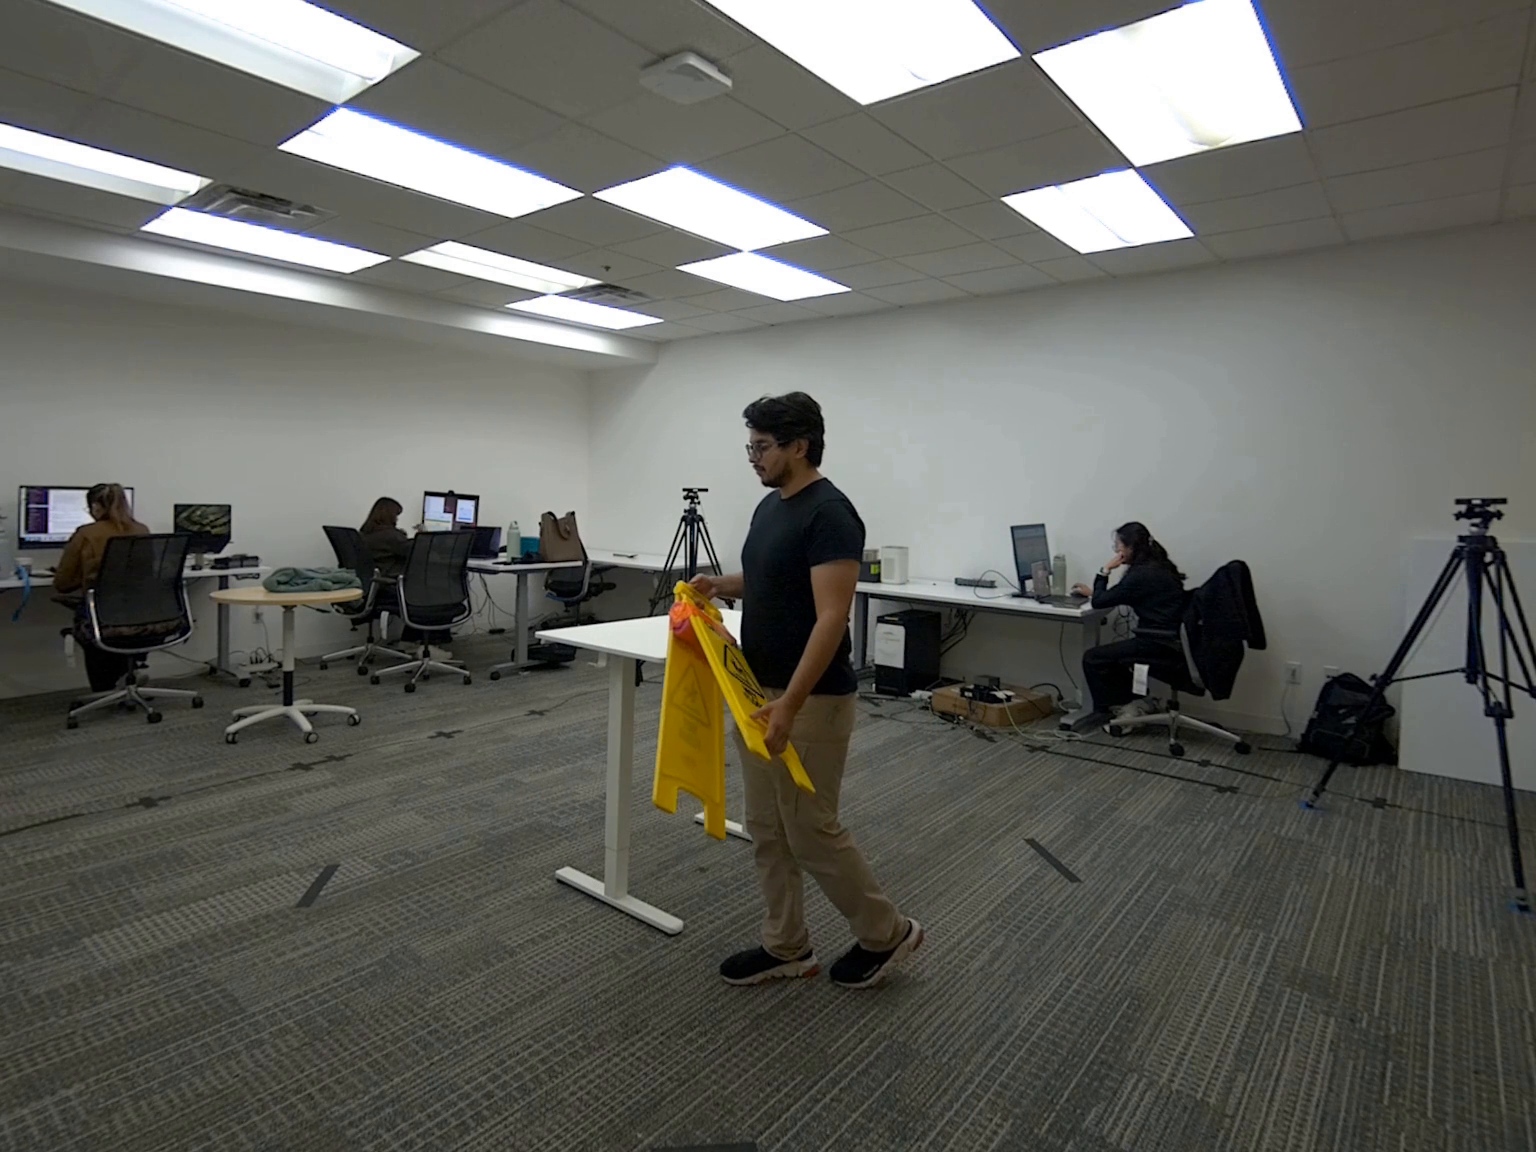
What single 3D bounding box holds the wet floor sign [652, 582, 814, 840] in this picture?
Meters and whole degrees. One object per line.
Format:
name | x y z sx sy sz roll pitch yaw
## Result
wet floor sign | -0.148 0.287 2.211 0.291 0.669 0.271 -35 -52 15
